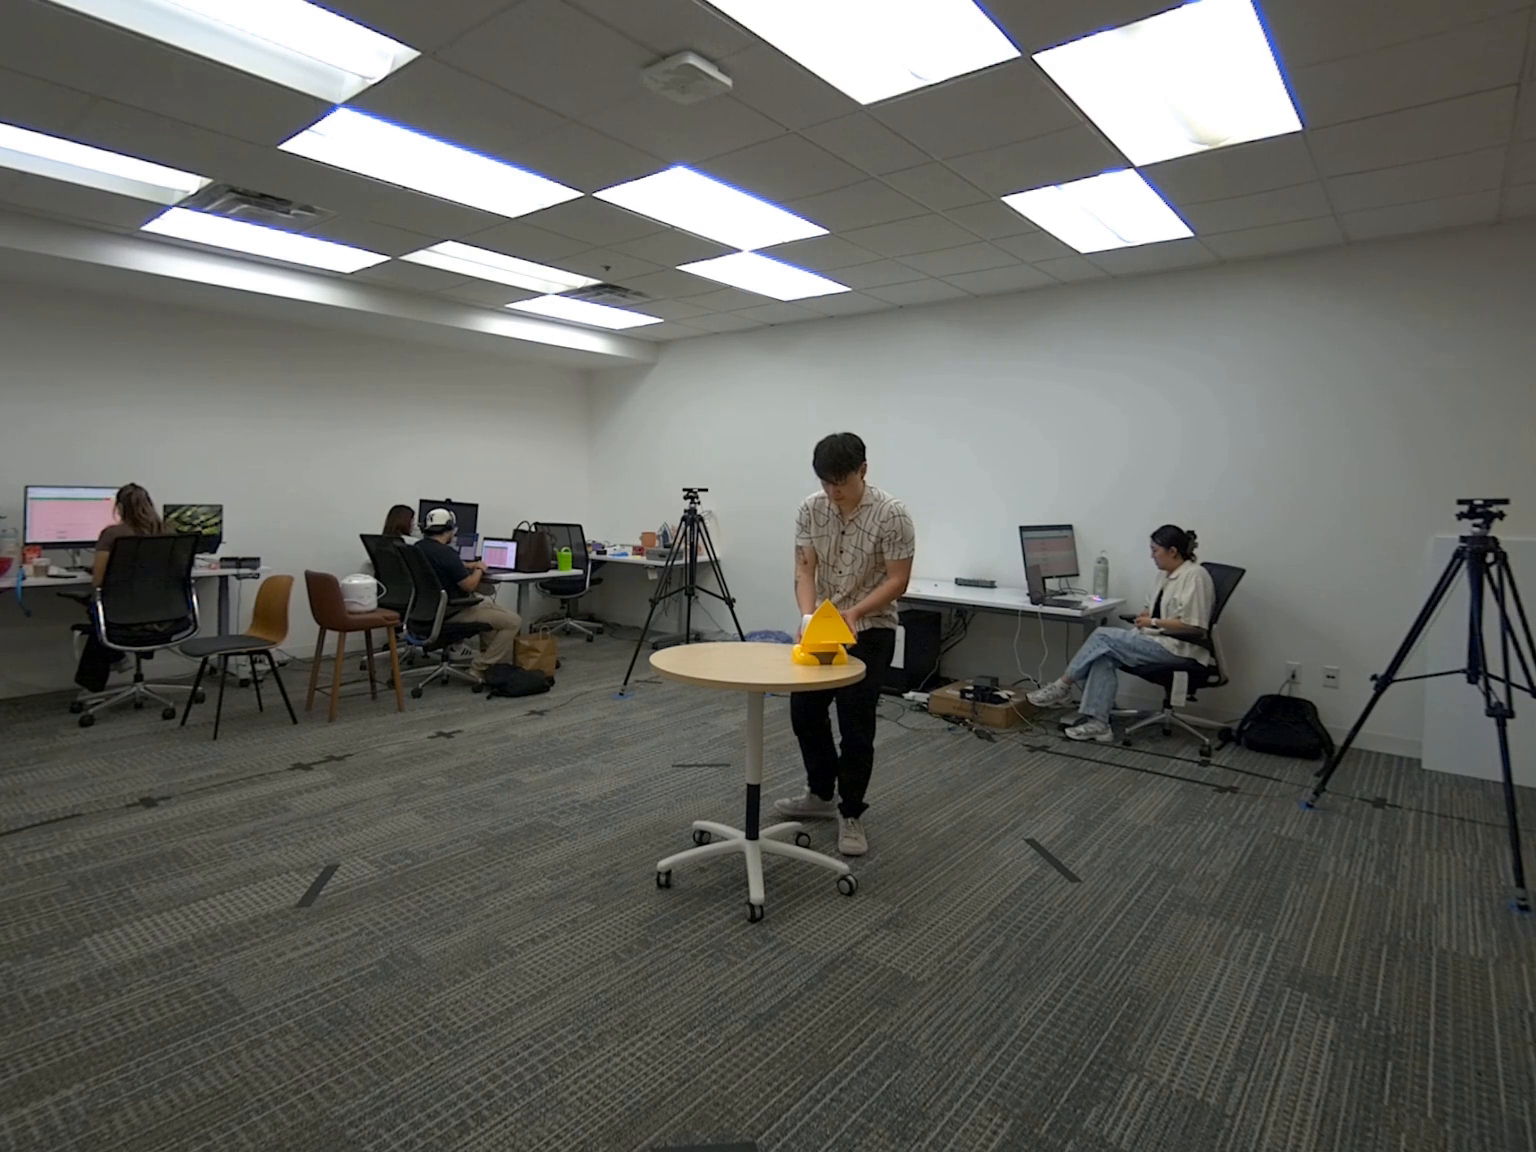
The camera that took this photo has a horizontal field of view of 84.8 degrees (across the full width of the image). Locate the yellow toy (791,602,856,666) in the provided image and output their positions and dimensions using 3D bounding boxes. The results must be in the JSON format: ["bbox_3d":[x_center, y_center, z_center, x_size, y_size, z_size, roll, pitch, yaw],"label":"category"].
[{"bbox_3d":[0.177,0.186,3.045,0.202,0.230,0.196,0,3,-14],"label":"yellow toy"}]
